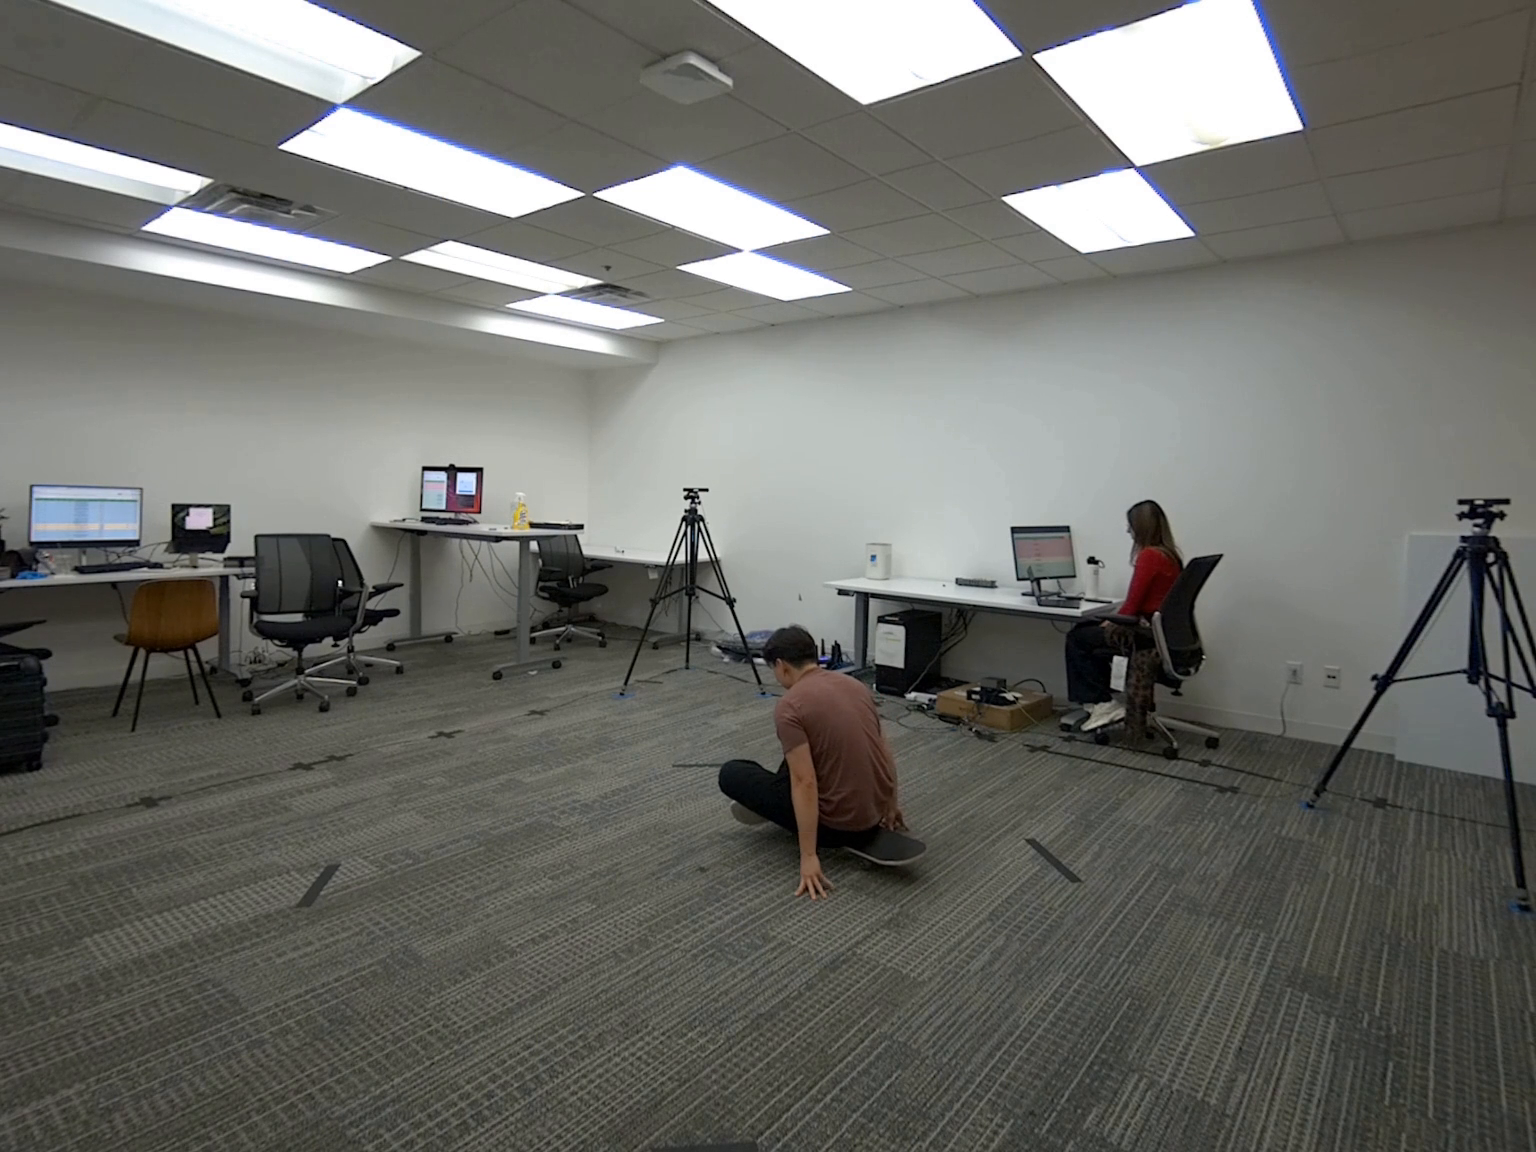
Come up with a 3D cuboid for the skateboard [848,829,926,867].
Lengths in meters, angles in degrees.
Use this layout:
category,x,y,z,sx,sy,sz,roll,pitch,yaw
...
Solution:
category,x,y,z,sx,sy,sz,roll,pitch,yaw
skateboard,0.280,1.001,3.341,0.189,0.109,0.813,-17,17,-36
